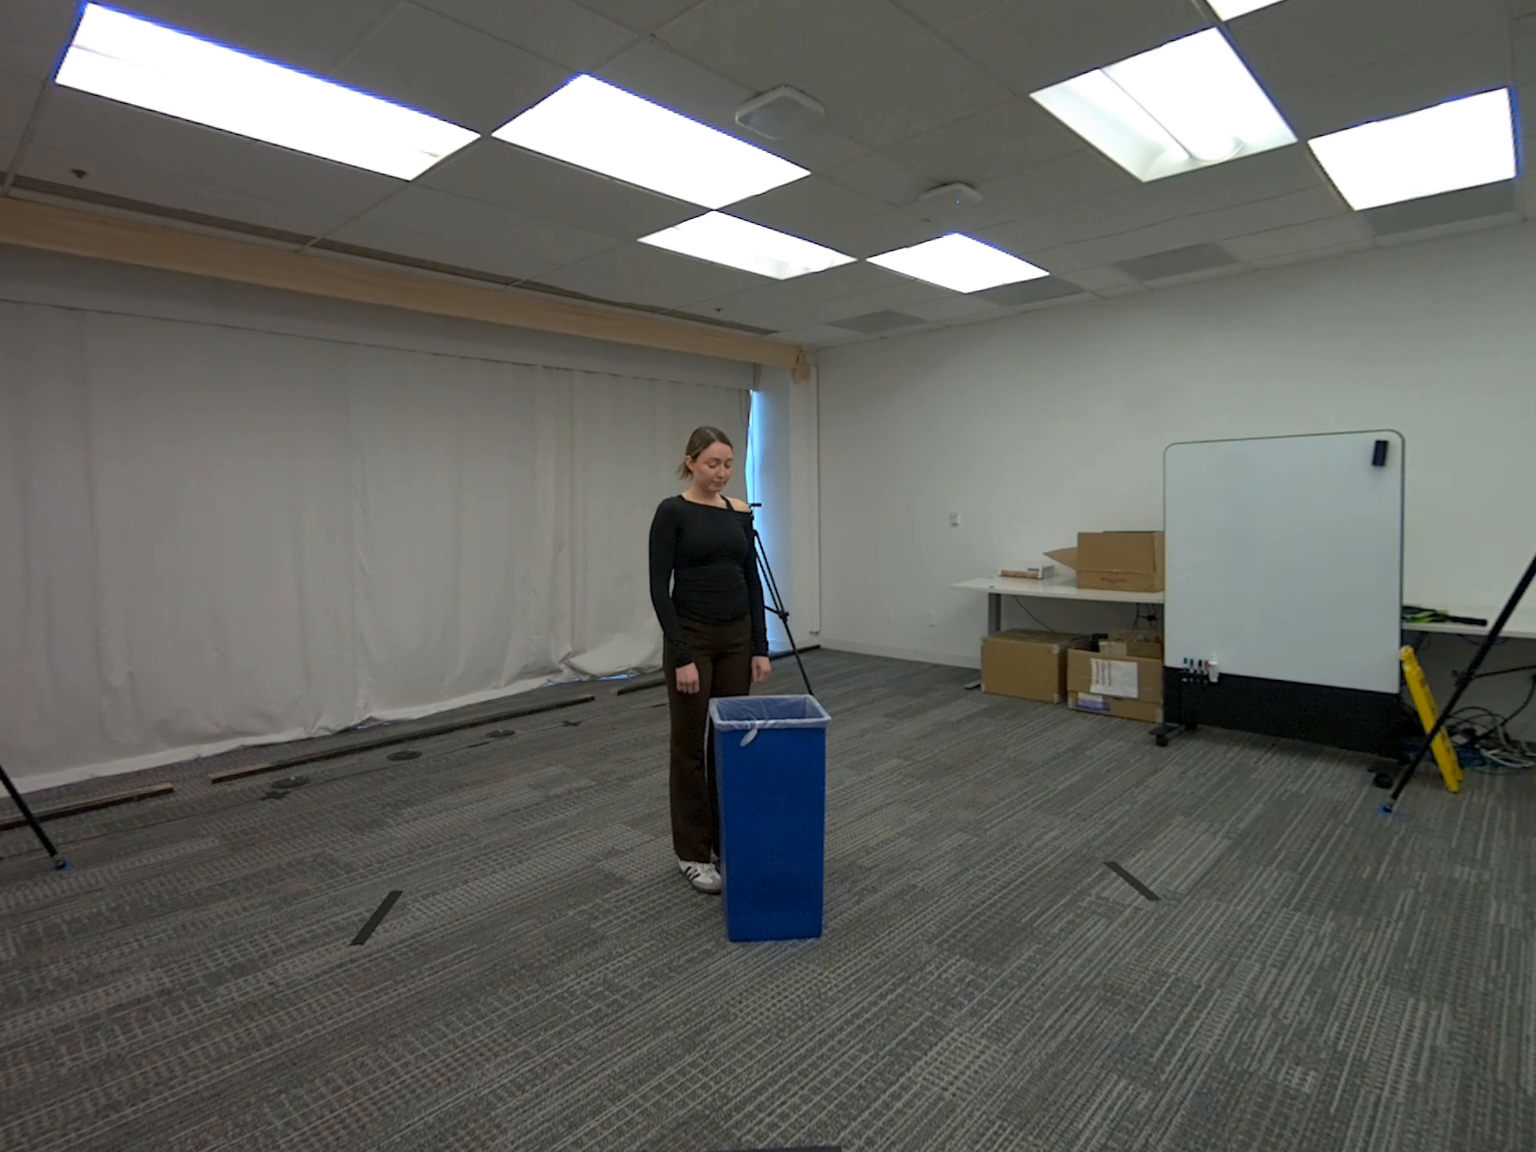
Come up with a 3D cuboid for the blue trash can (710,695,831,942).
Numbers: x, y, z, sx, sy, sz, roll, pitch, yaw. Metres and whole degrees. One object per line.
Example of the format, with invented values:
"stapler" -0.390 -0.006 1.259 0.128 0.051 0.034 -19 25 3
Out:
"blue trash can" 0.005 0.791 2.818 0.376 0.712 0.376 -1 3 -5
